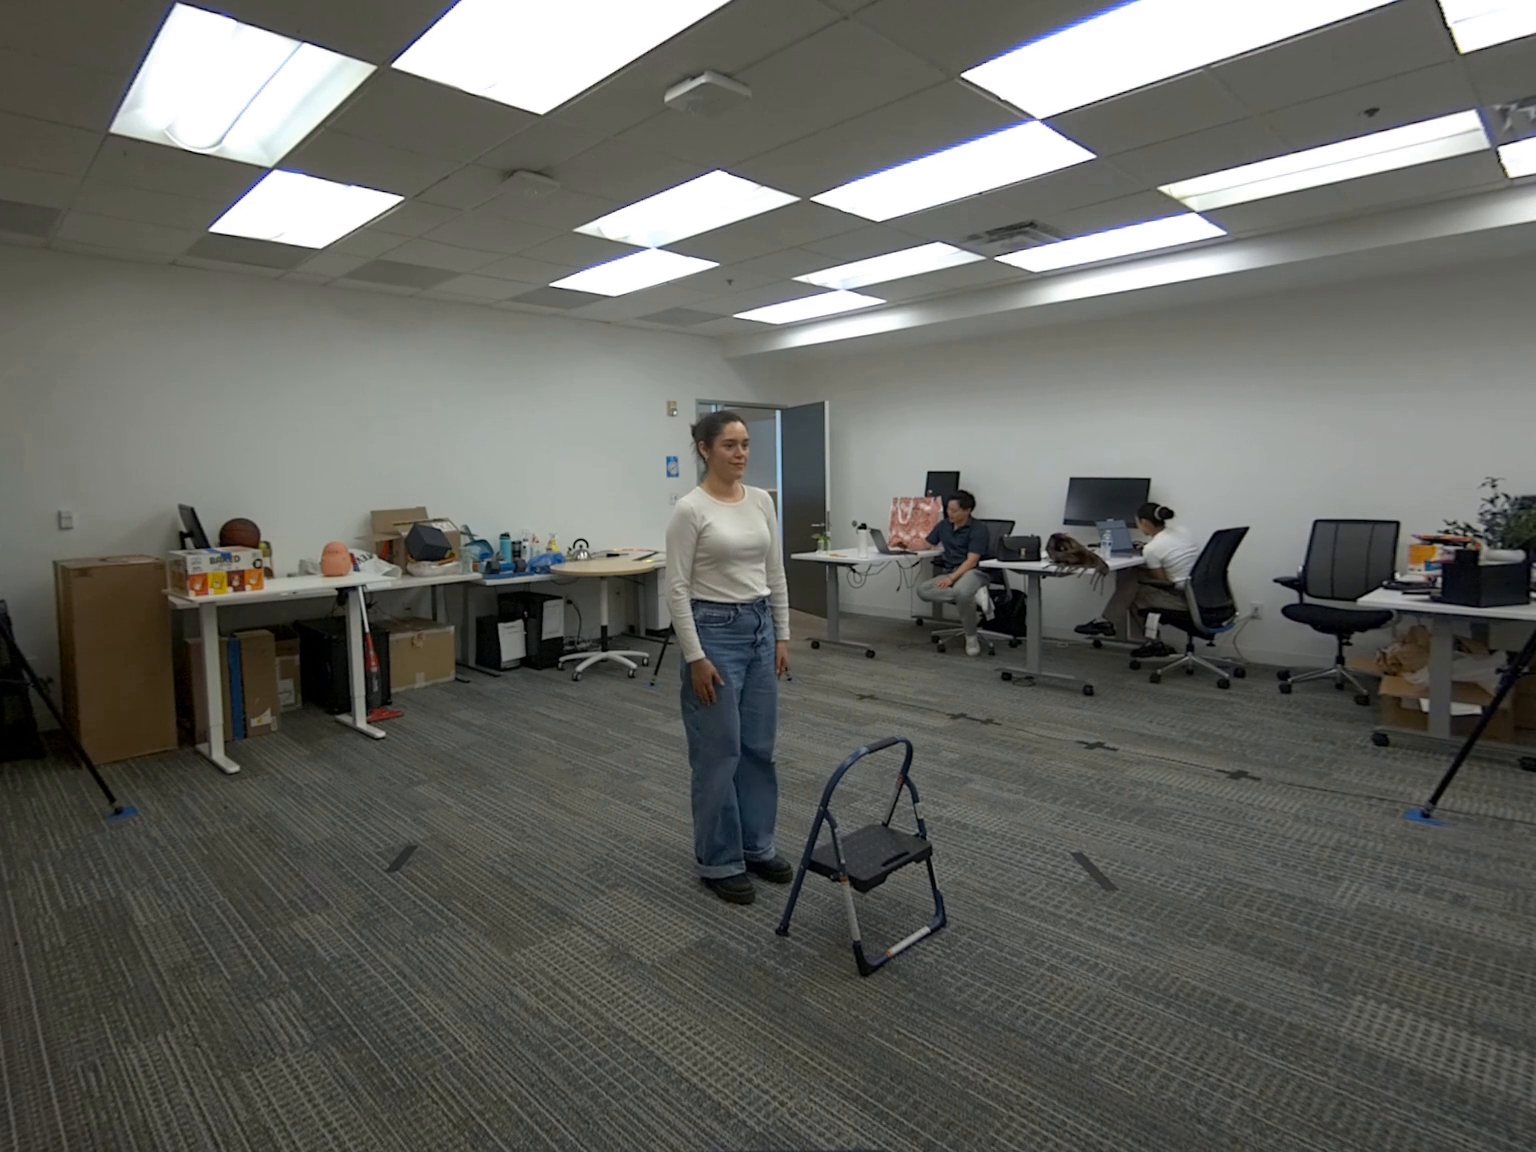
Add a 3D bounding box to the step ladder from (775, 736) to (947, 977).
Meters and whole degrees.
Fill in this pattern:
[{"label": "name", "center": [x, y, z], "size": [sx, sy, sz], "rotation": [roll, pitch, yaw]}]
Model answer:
[{"label": "step ladder", "center": [0.290, 0.791, 2.624], "size": [0.360, 0.604, 0.419], "rotation": [3, 7, 45]}]
